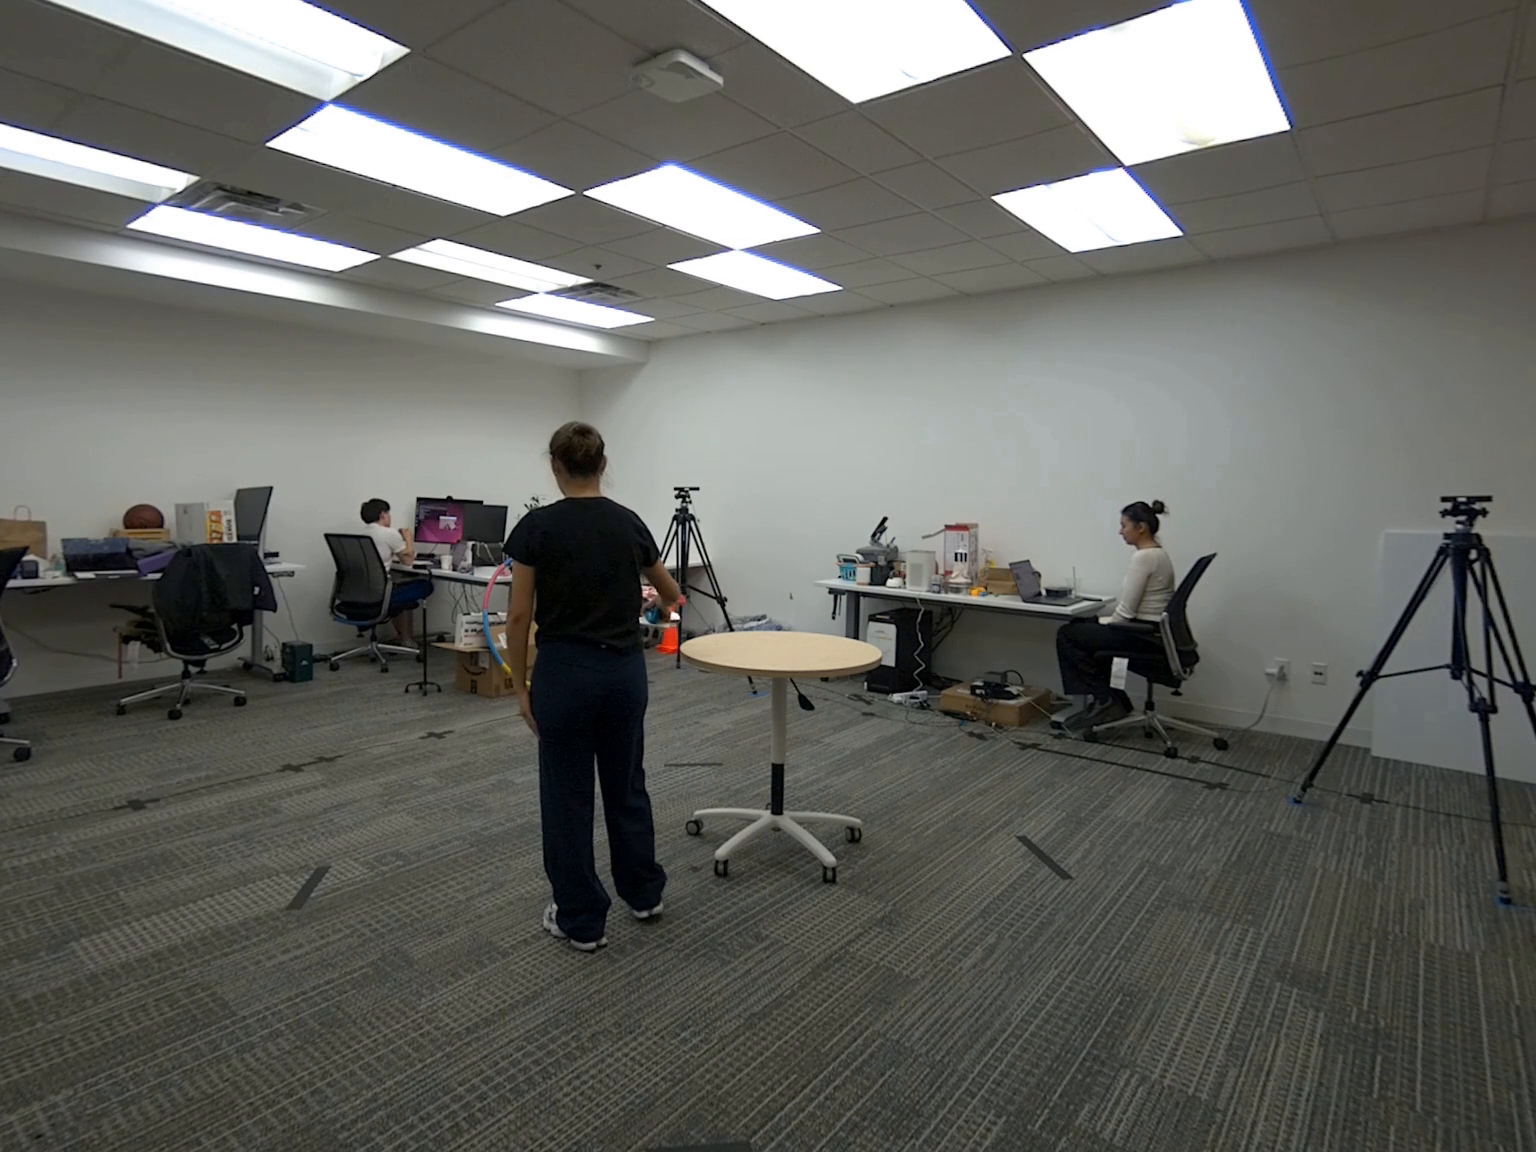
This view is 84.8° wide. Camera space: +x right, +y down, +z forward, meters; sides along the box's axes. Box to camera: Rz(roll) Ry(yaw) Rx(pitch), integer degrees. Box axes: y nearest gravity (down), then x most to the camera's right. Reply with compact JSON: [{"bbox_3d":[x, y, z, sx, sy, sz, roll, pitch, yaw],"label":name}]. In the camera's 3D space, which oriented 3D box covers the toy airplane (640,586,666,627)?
[{"bbox_3d":[-0.381,0.124,3.150,0.242,0.156,0.269,7,6,-40],"label":"toy airplane"}]
